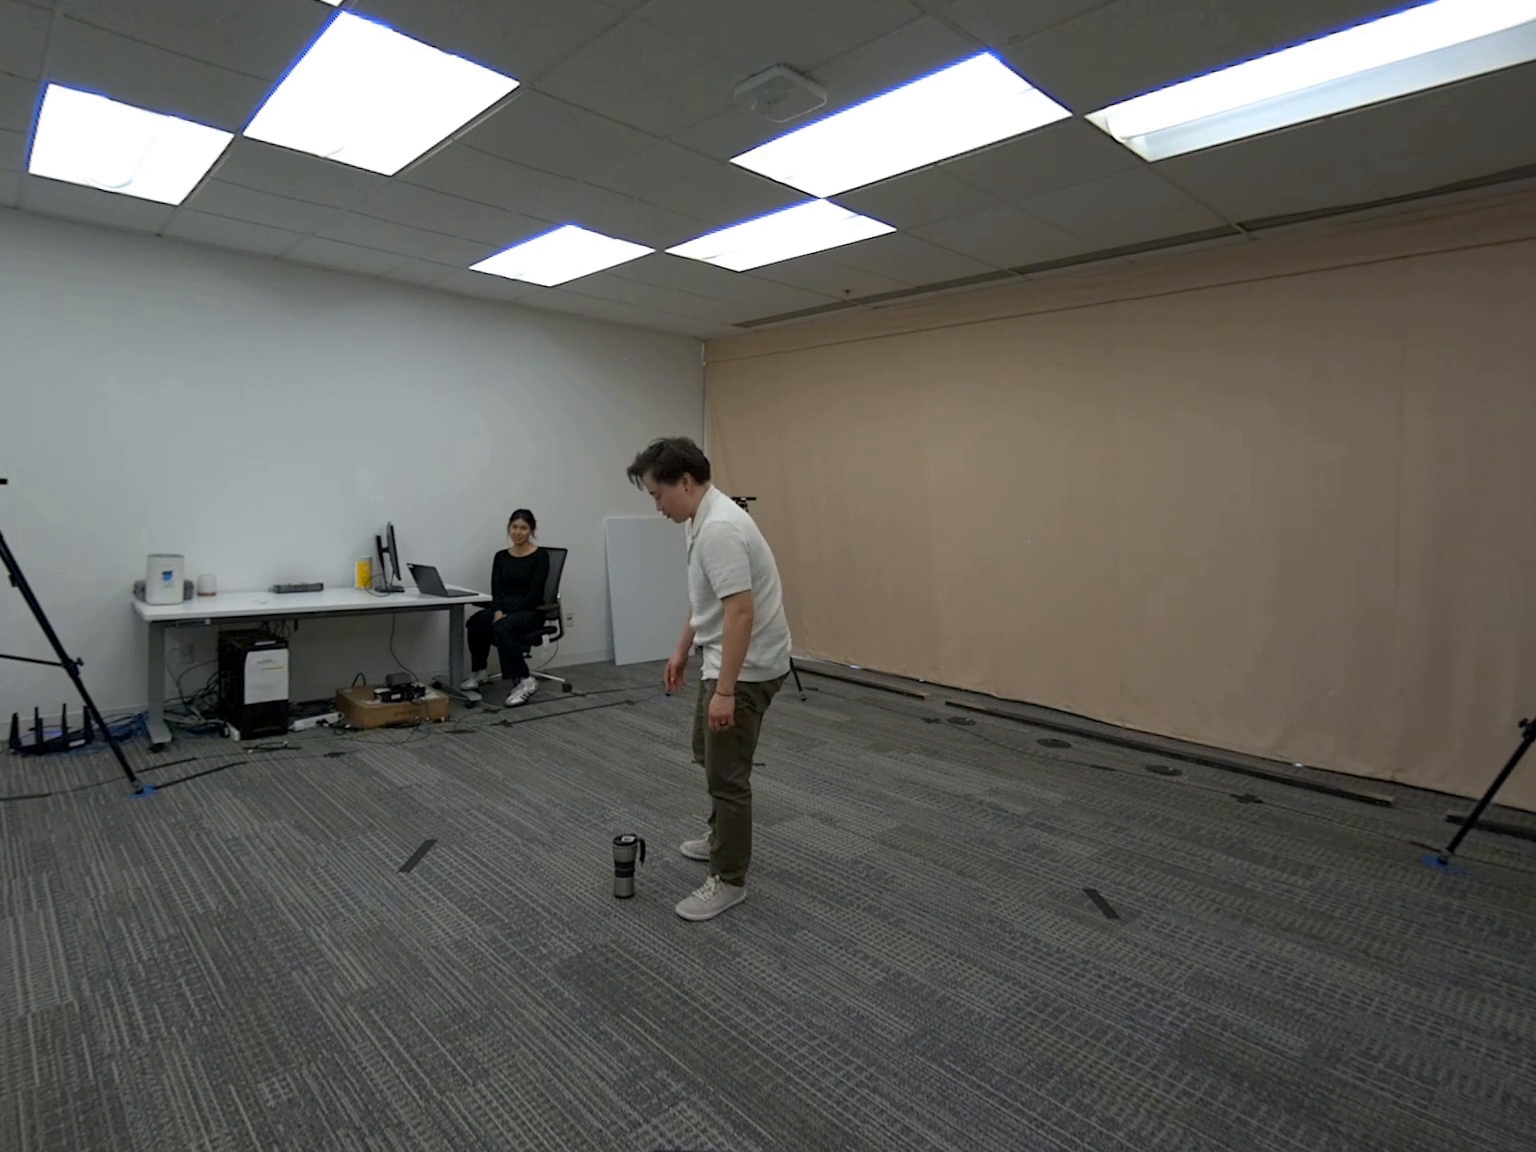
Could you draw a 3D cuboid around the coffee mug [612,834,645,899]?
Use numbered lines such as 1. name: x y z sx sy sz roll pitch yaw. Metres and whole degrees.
1. coffee mug: -0.480 1.010 2.939 0.120 0.202 0.089 -4 2 -17
